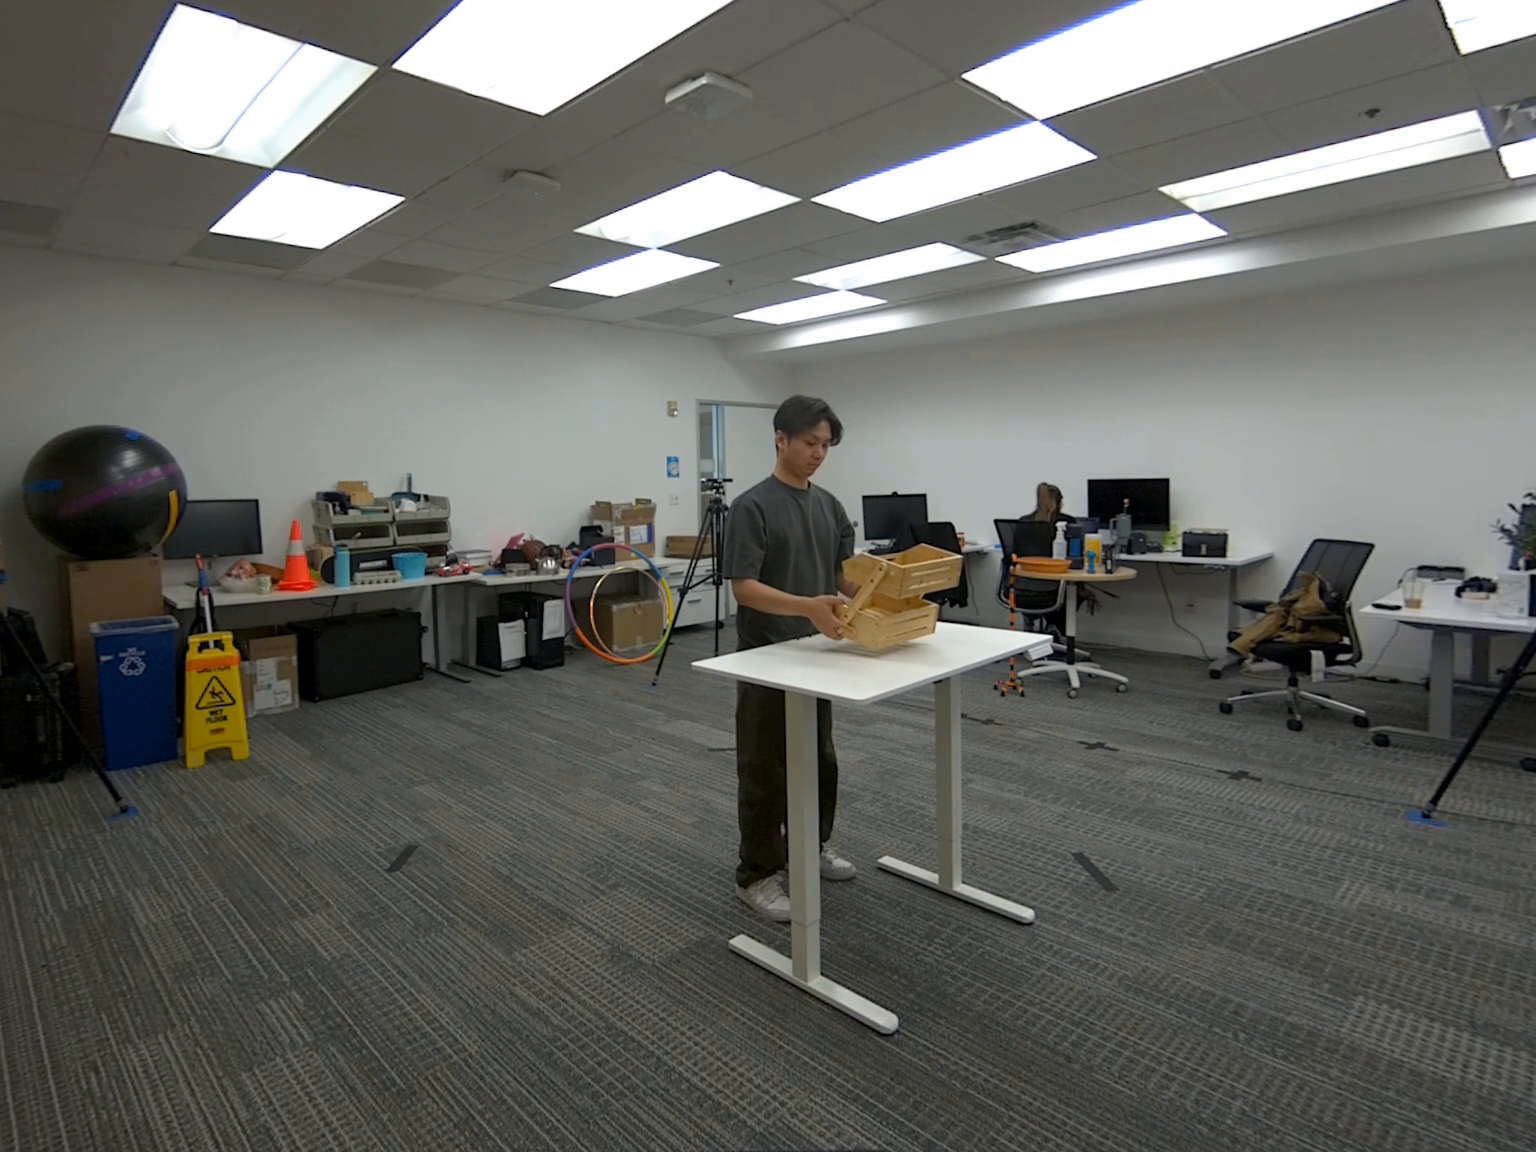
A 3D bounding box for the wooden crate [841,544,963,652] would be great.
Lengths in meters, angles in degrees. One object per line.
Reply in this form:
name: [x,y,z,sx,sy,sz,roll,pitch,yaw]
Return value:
wooden crate: [0.355,0.040,2.543,0.316,0.270,0.313,-9,21,-45]
